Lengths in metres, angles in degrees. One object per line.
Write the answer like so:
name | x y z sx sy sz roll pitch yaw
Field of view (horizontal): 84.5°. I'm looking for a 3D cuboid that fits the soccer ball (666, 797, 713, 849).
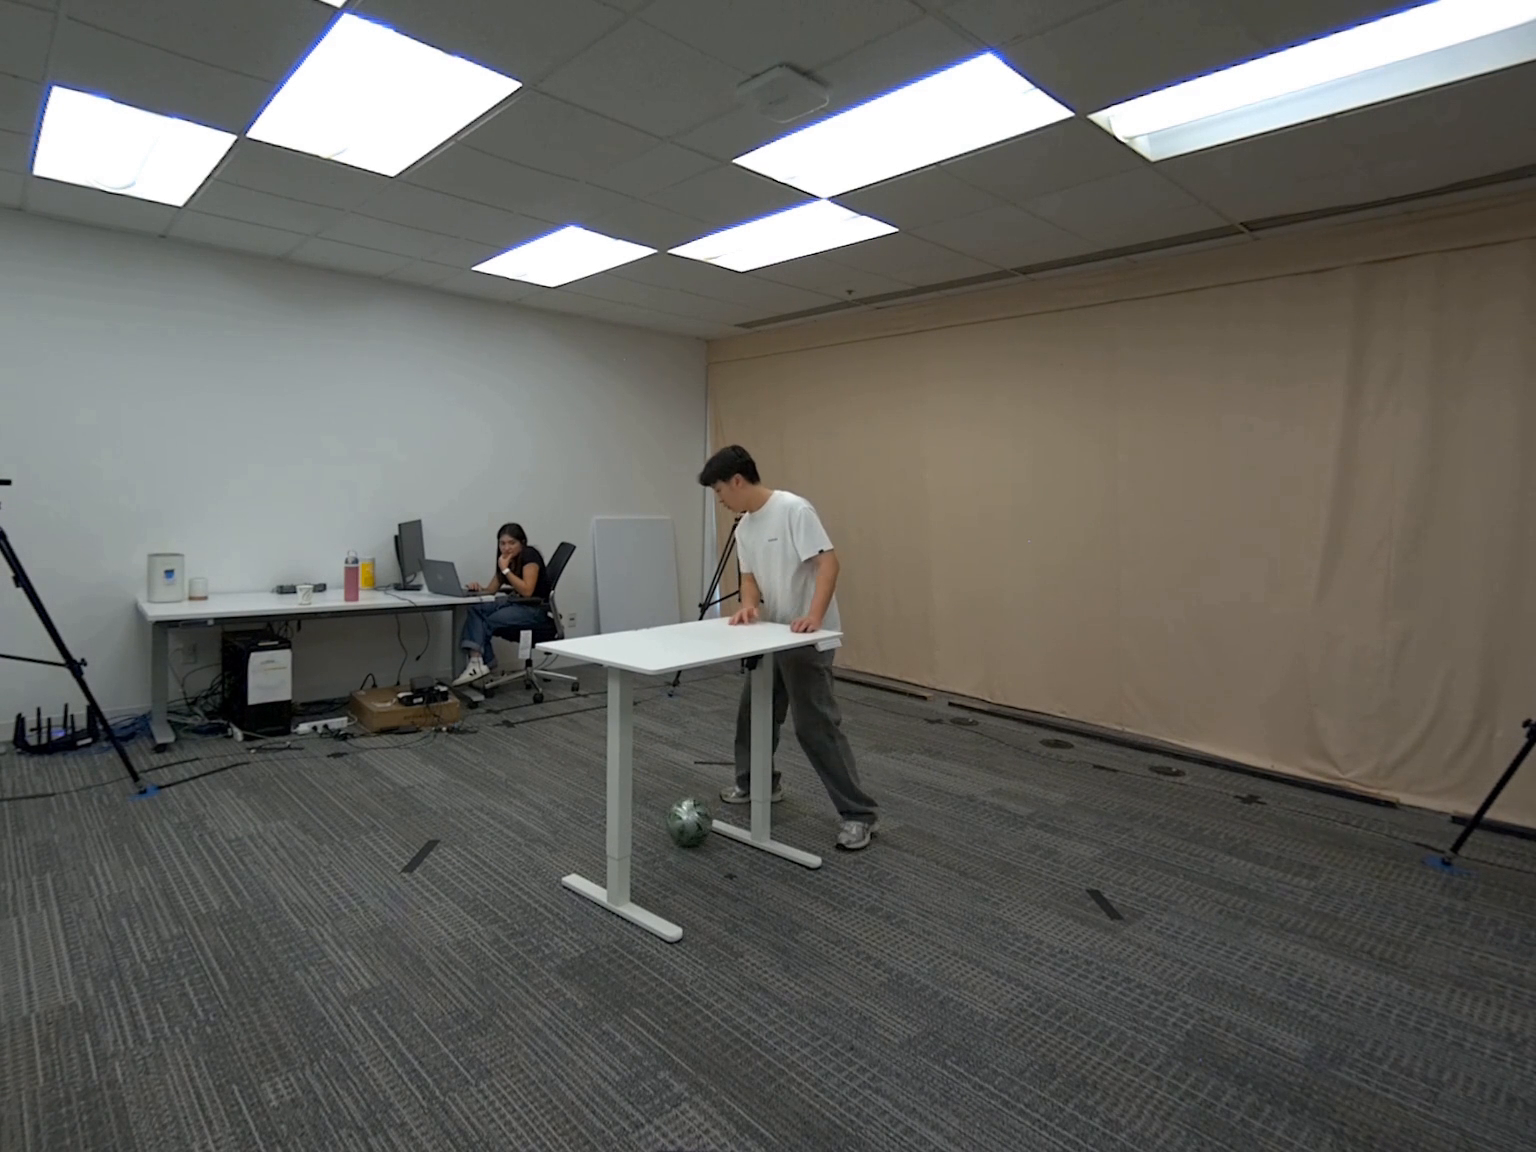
soccer ball | -0.324 0.985 3.377 0.187 0.187 0.188 1 4 -1
